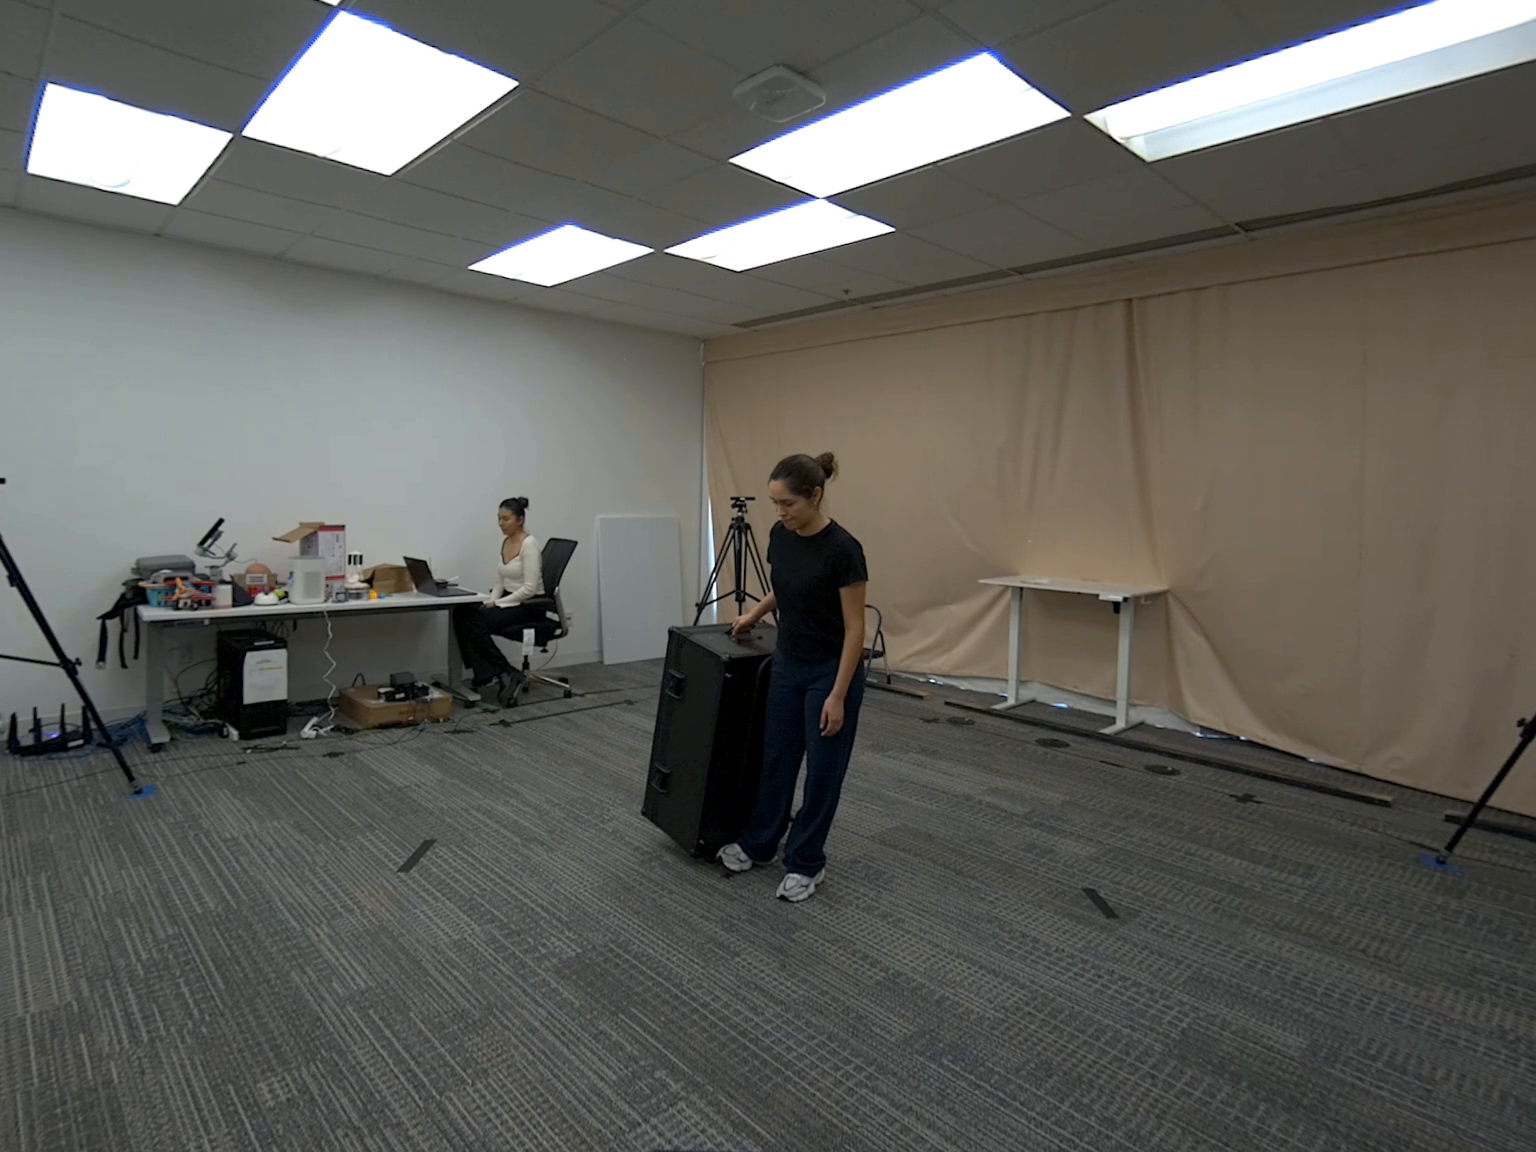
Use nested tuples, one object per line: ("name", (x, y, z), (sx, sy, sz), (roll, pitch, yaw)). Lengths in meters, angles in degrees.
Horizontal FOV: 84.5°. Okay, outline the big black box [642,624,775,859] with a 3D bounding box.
("big black box", (-0.148, 0.650, 3.299), (0.509, 0.856, 0.408), (0, 15, -42))
